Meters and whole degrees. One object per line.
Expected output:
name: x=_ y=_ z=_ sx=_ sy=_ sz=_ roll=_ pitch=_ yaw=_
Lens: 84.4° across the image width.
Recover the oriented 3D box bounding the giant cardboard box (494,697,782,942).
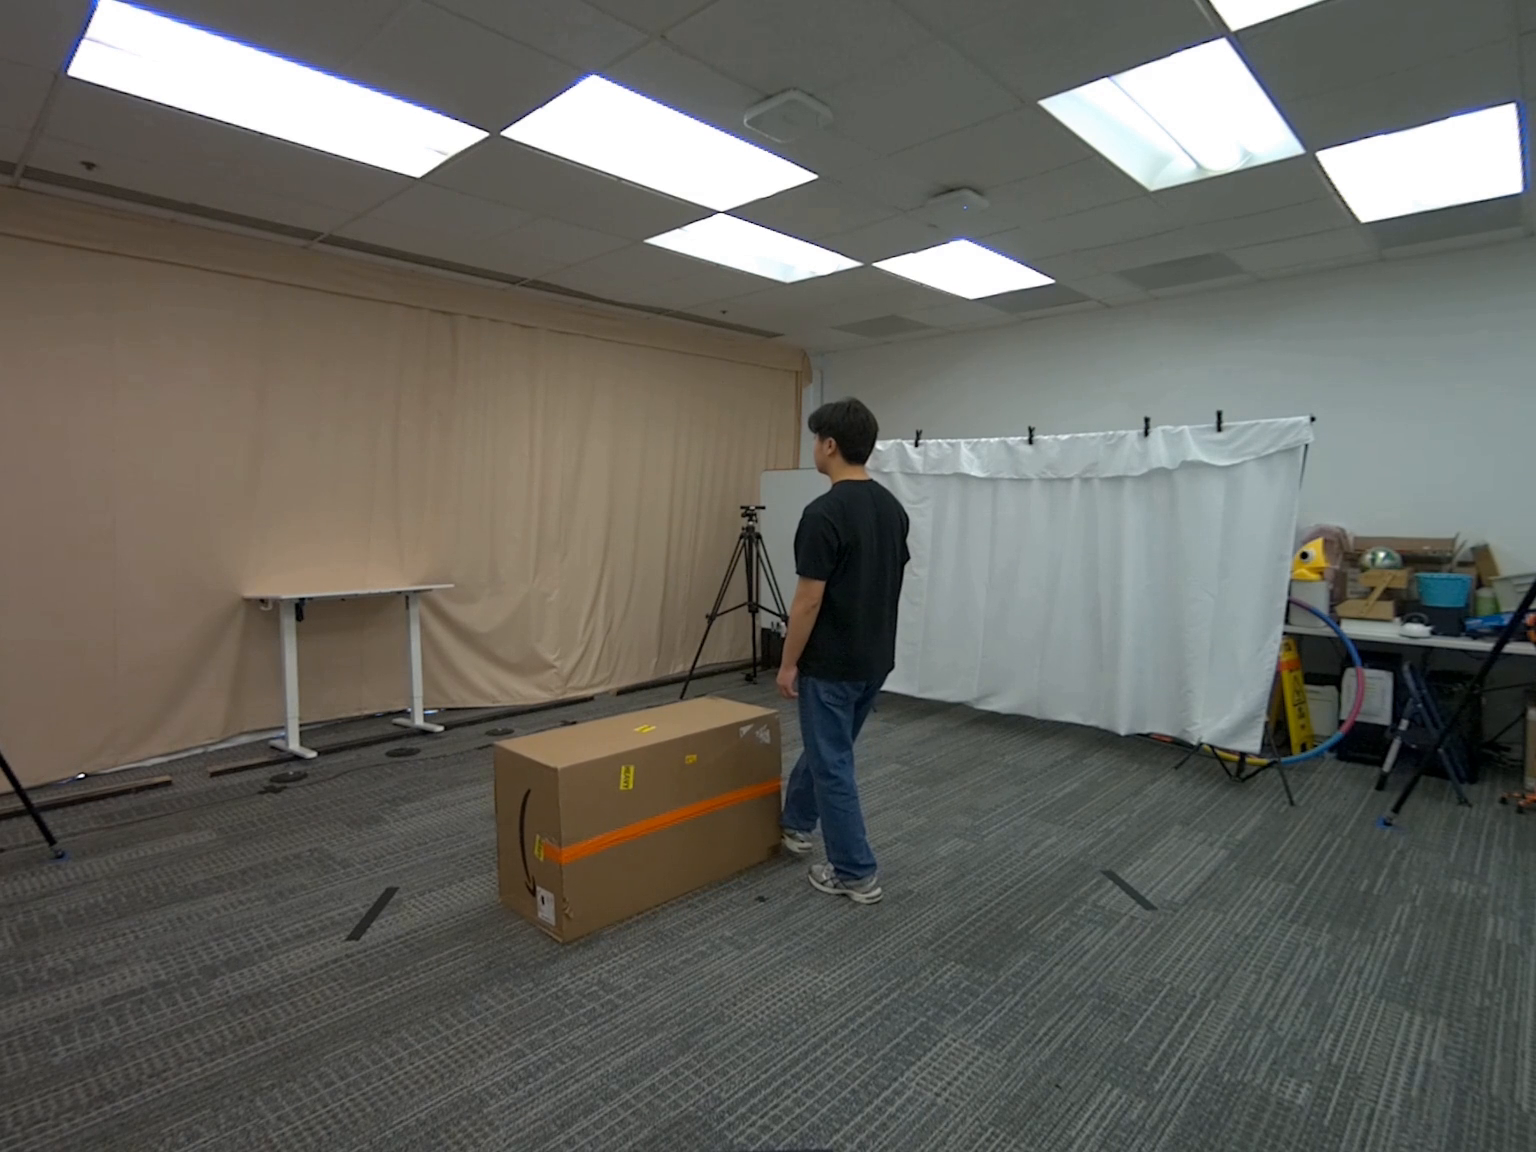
giant cardboard box: x=-0.453 y=0.846 z=3.153 sx=0.996 sy=0.582 sz=0.462 roll=-5 pitch=6 yaw=-44
